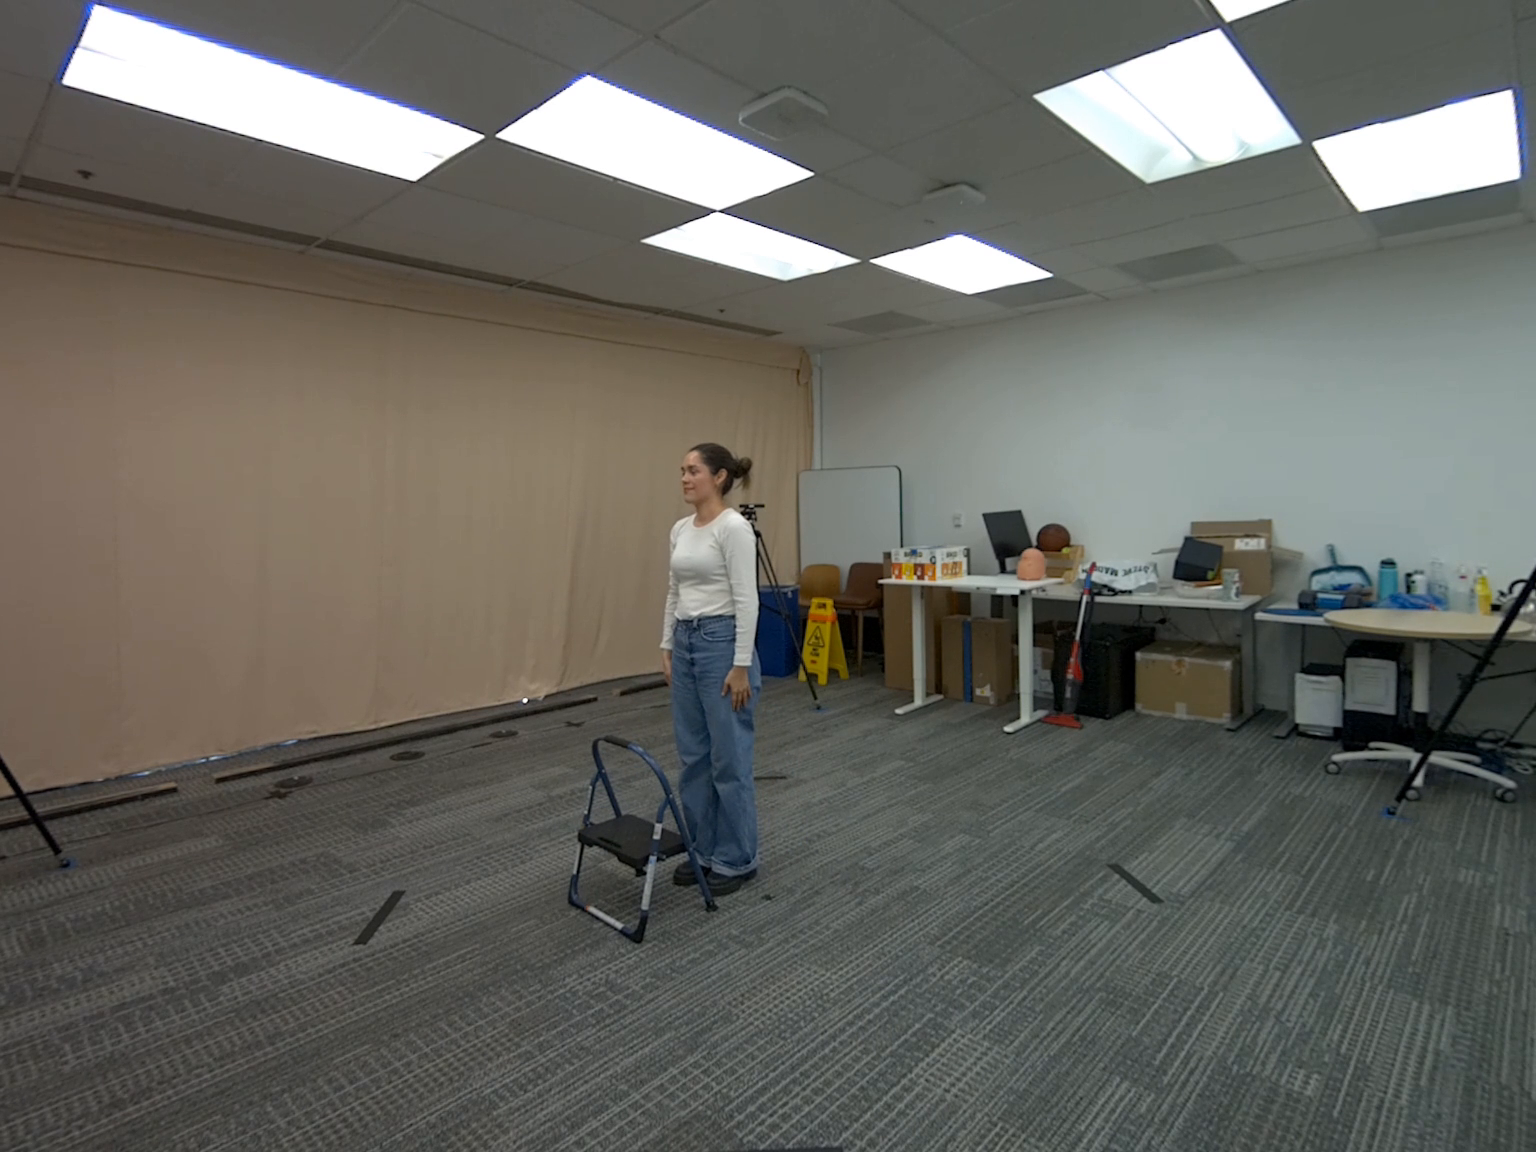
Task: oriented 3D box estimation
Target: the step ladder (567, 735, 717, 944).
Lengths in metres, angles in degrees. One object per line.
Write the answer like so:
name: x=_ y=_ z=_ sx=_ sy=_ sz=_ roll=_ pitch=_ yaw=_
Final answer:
step ladder: x=-0.450 y=0.853 z=2.924 sx=0.445 sy=0.605 sz=0.339 roll=1 pitch=4 yaw=44
